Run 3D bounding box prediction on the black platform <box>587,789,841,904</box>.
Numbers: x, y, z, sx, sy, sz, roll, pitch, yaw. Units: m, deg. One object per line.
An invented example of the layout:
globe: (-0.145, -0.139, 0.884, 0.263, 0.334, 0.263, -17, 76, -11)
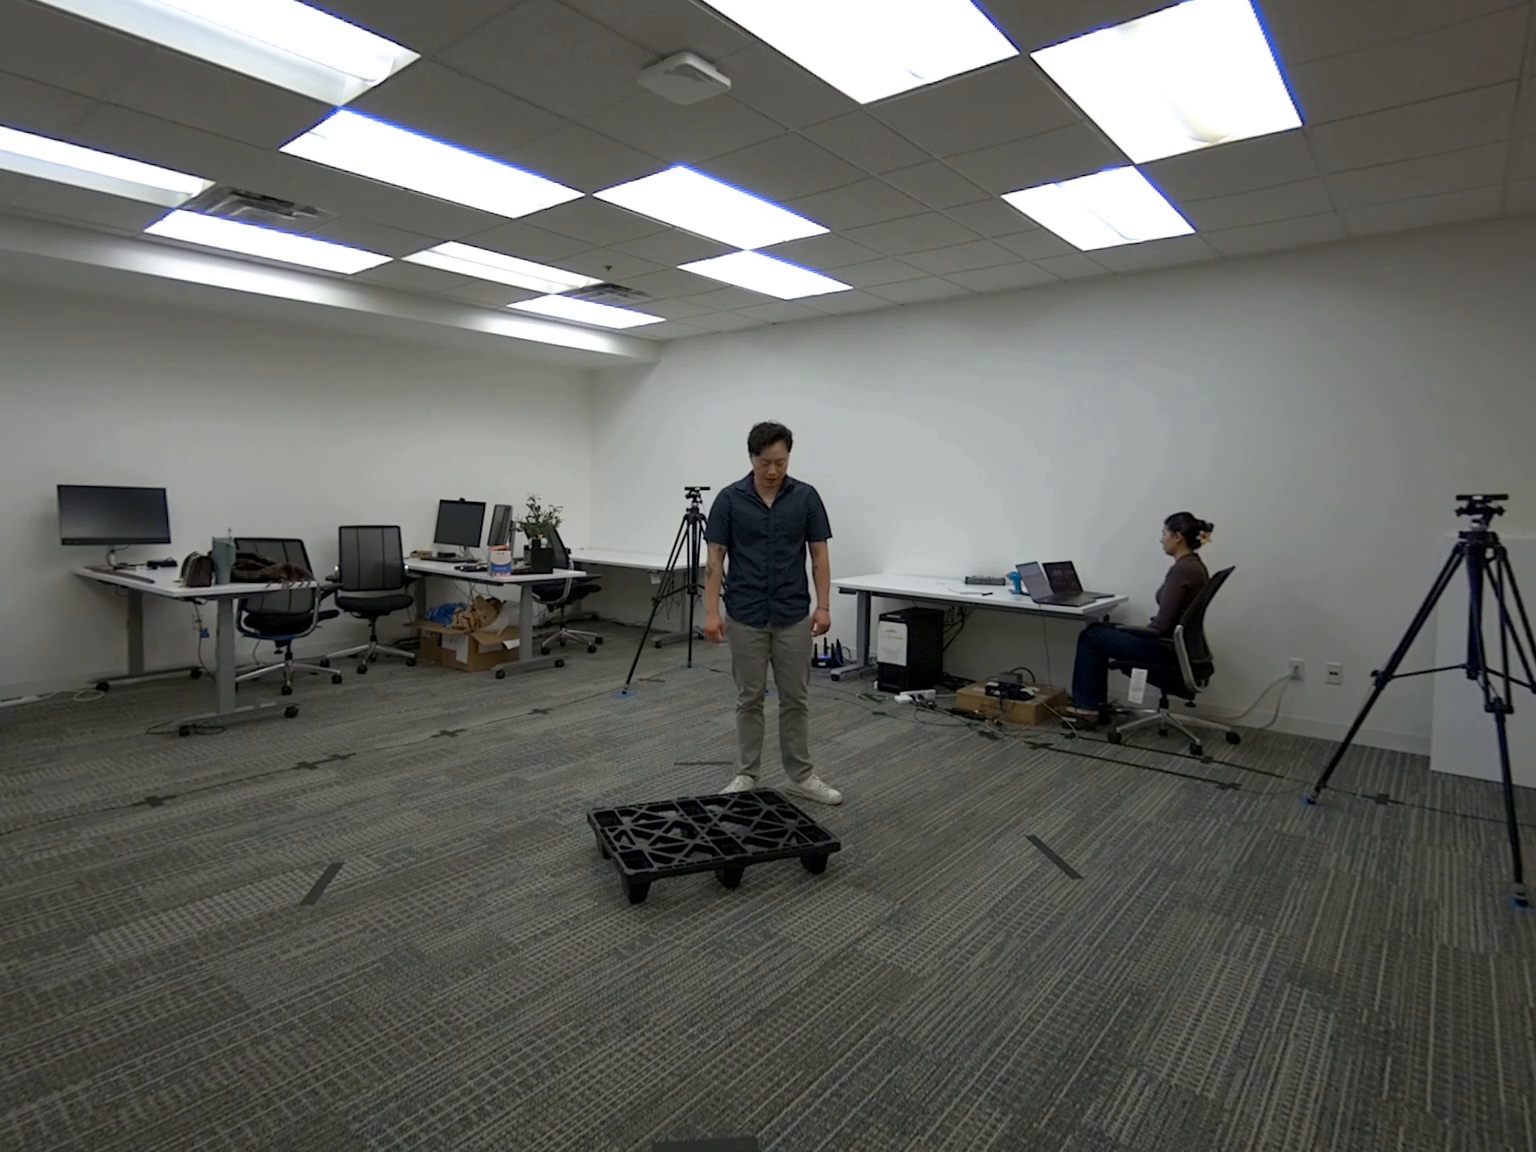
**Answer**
black platform: (-0.227, 0.990, 3.171, 0.788, 0.143, 0.621, -2, 7, -23)
